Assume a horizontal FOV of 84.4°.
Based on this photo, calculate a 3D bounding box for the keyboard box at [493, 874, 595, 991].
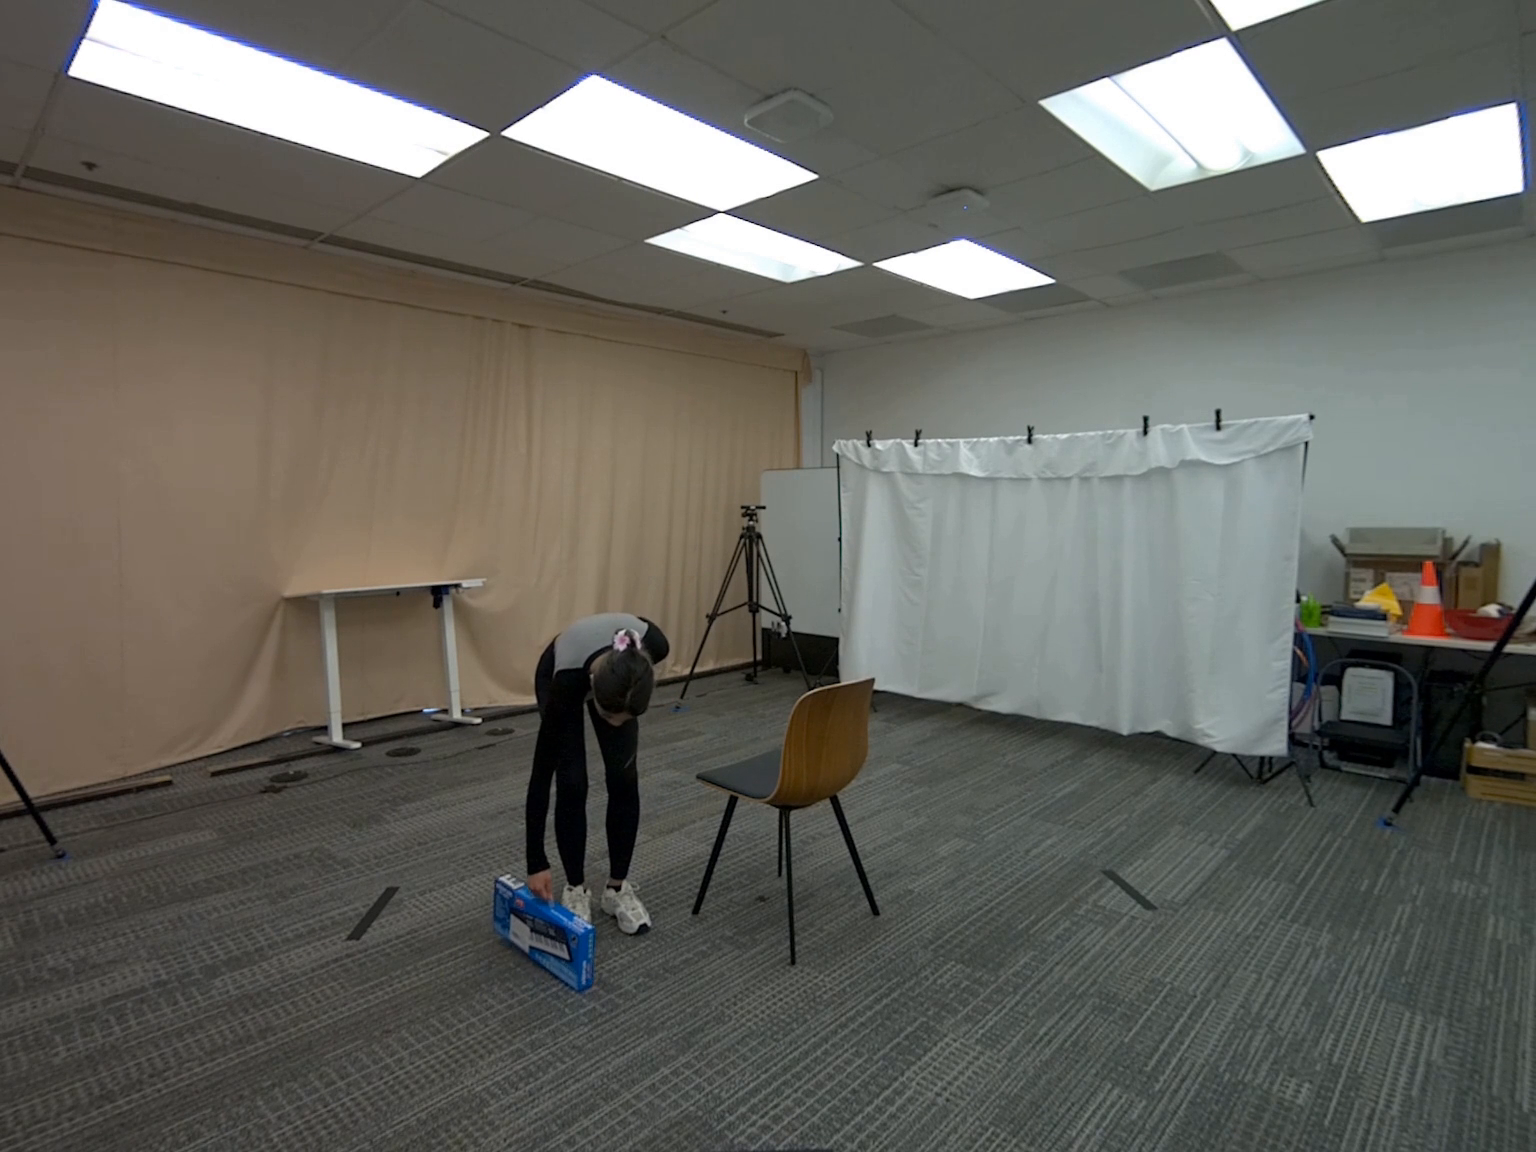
[{"bbox_3d":[-0.688,1.076,2.558,0.451,0.175,0.057,7,7,38],"label":"keyboard box"}]
